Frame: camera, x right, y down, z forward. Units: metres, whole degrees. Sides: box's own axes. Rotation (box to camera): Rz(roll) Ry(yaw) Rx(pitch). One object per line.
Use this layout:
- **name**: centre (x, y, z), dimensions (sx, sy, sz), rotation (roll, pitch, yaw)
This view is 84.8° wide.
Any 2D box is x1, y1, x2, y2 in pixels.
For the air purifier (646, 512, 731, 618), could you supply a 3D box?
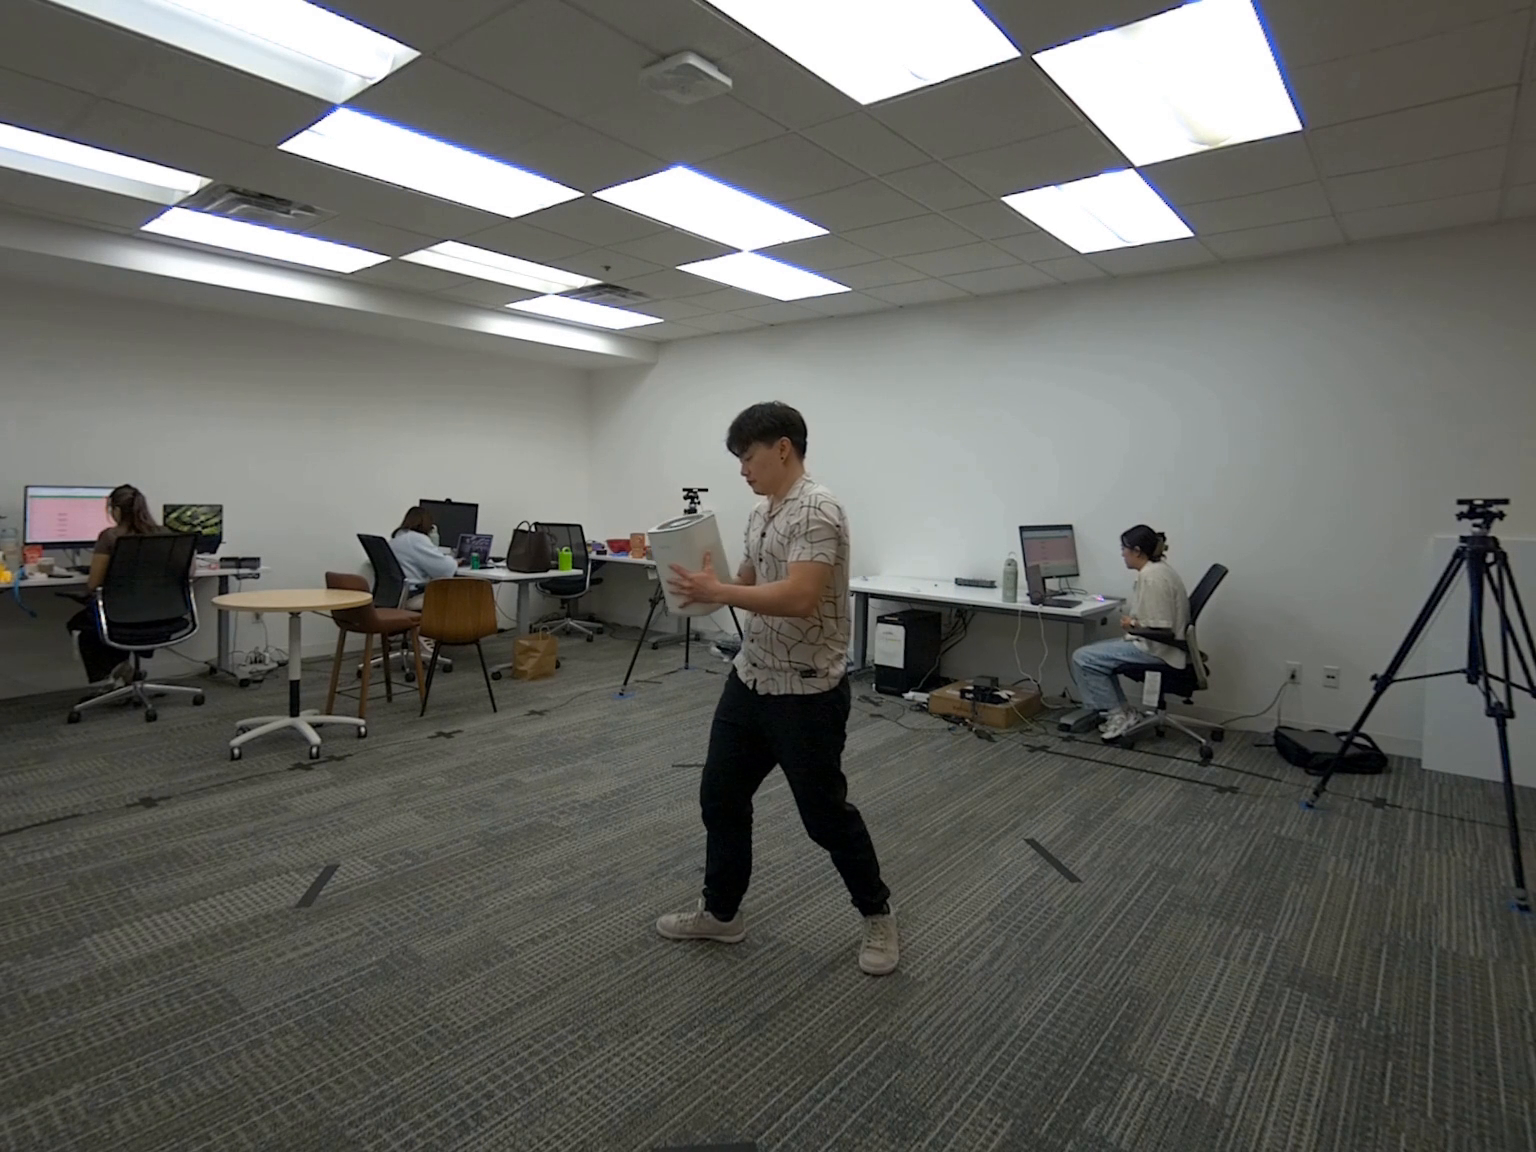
- **air purifier**: centre (-0.224, -0.030, 2.439), dimensions (0.177, 0.262, 0.168), rotation (-1, 18, 46)
